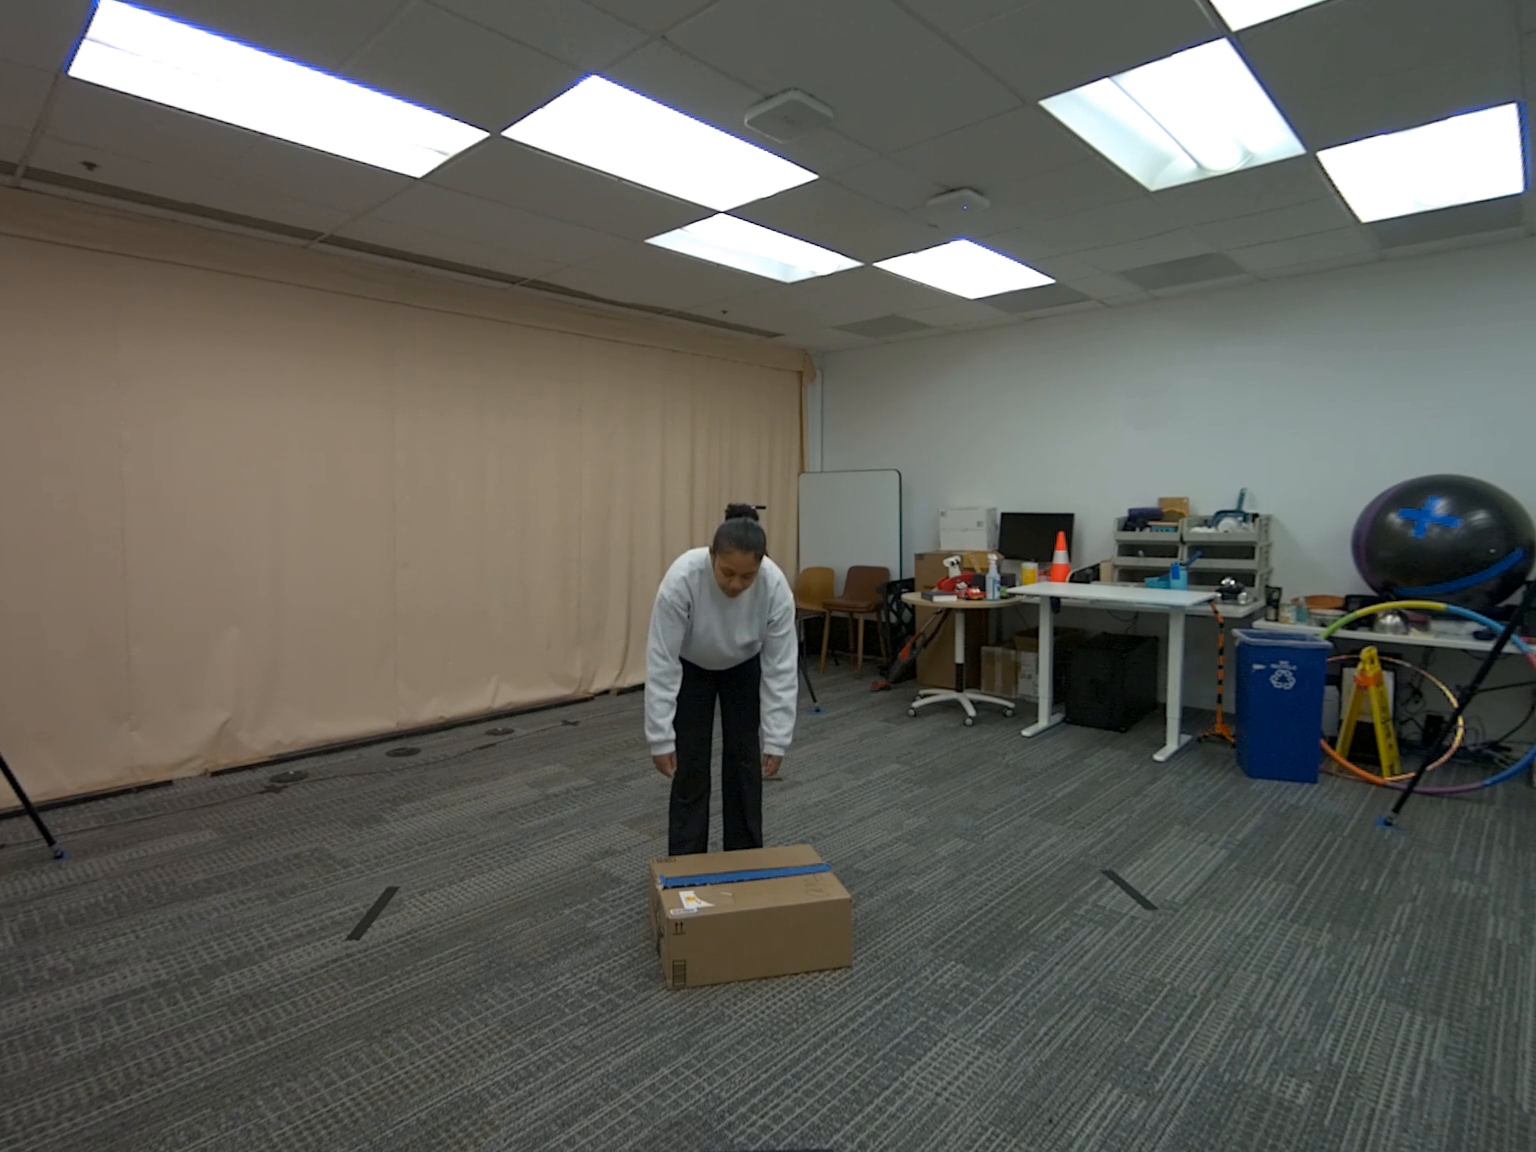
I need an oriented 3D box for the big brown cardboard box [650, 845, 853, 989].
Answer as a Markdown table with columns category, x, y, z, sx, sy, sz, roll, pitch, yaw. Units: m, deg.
| category | x | y | z | sx | sy | sz | roll | pitch | yaw |
| --- | --- | --- | --- | --- | --- | --- | --- | --- | --- |
| big brown cardboard box | -0.068 | 1.060 | 2.664 | 0.580 | 0.233 | 0.424 | 0 | 4 | -14 |
